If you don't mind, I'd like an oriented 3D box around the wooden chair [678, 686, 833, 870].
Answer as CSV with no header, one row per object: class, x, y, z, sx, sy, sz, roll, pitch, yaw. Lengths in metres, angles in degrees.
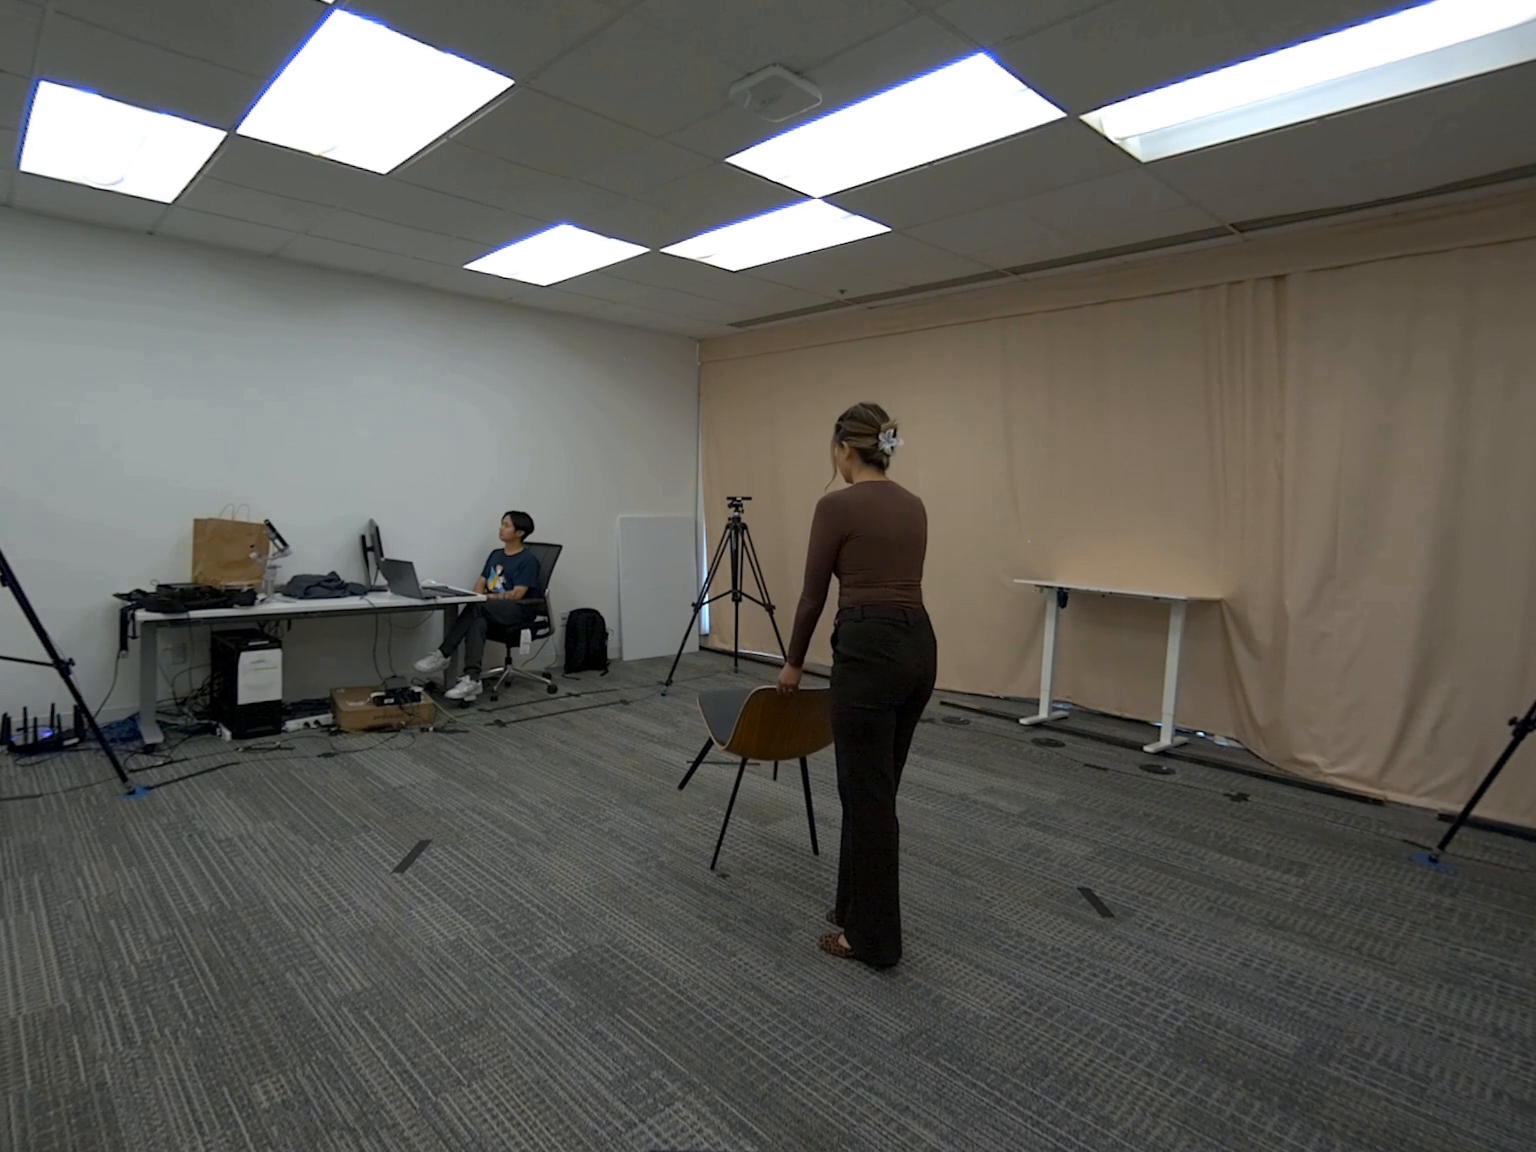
wooden chair,-0.020,0.611,3.246,0.470,0.865,0.539,0,31,-23
